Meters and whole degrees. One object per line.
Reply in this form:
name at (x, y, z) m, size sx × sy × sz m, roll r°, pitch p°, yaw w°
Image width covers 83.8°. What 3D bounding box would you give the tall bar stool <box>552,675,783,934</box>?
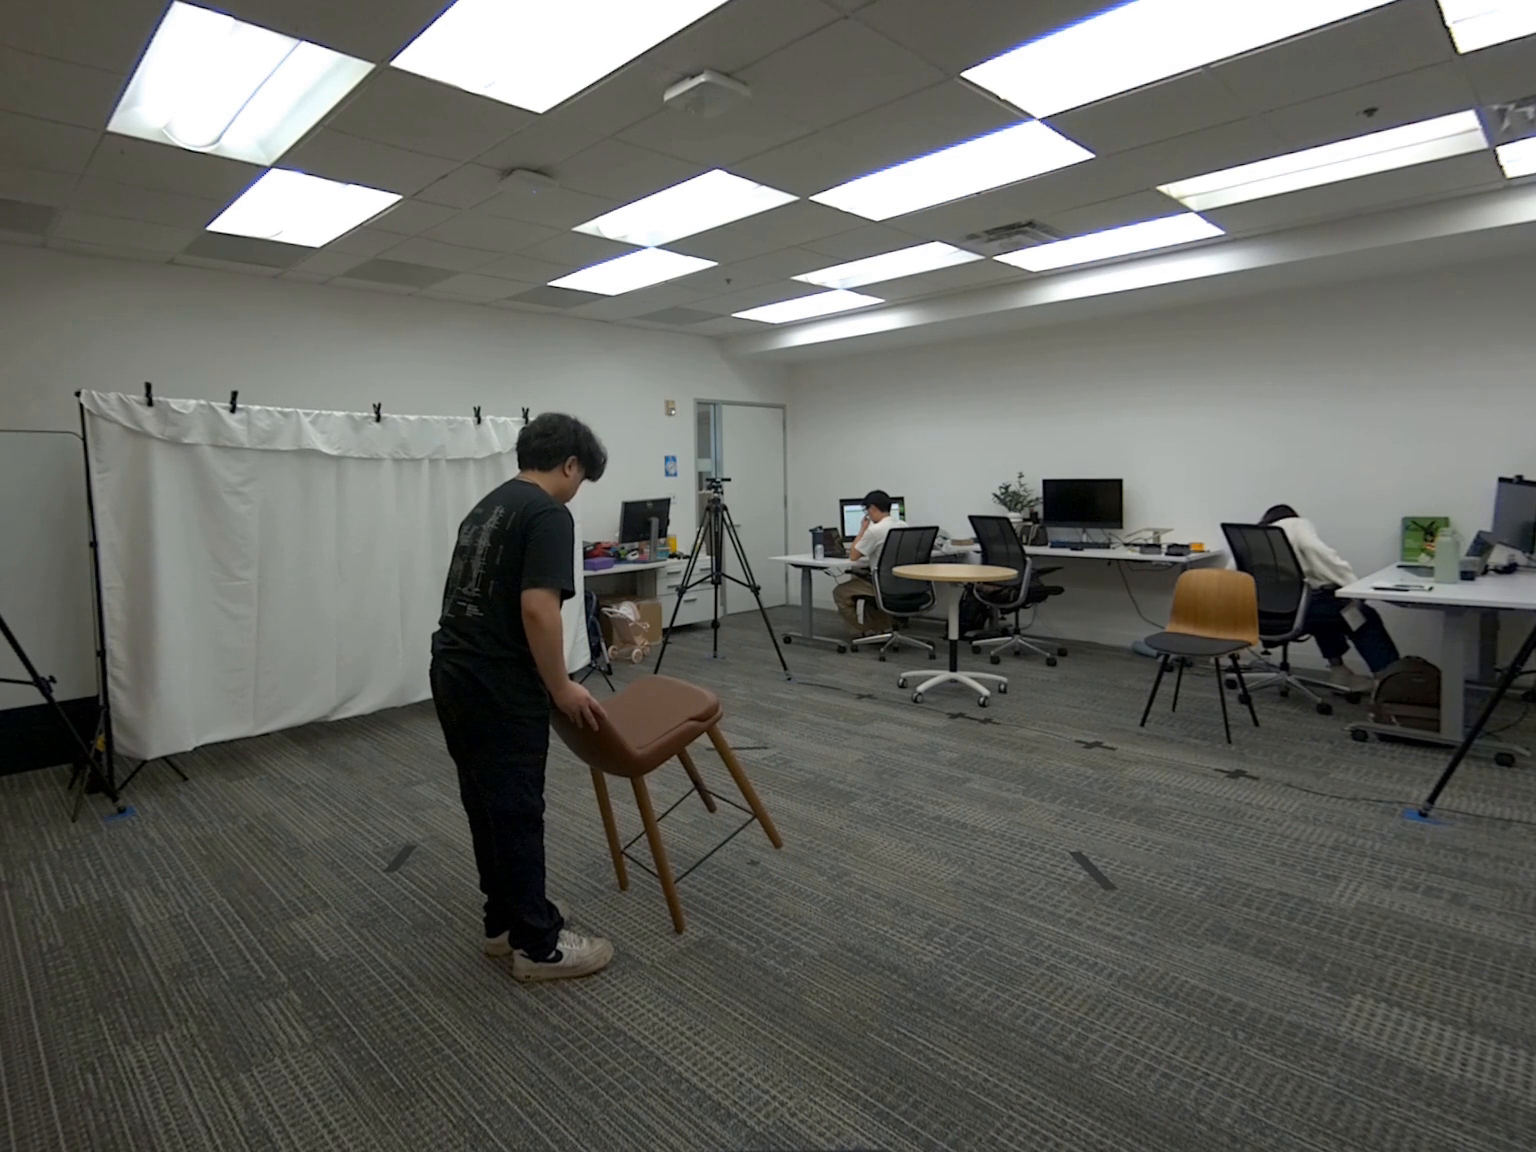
tall bar stool at (-0.371, 0.605, 2.766) m, size 0.463 × 0.871 × 0.470 m, roll -33°, pitch 22°, yaw -31°
